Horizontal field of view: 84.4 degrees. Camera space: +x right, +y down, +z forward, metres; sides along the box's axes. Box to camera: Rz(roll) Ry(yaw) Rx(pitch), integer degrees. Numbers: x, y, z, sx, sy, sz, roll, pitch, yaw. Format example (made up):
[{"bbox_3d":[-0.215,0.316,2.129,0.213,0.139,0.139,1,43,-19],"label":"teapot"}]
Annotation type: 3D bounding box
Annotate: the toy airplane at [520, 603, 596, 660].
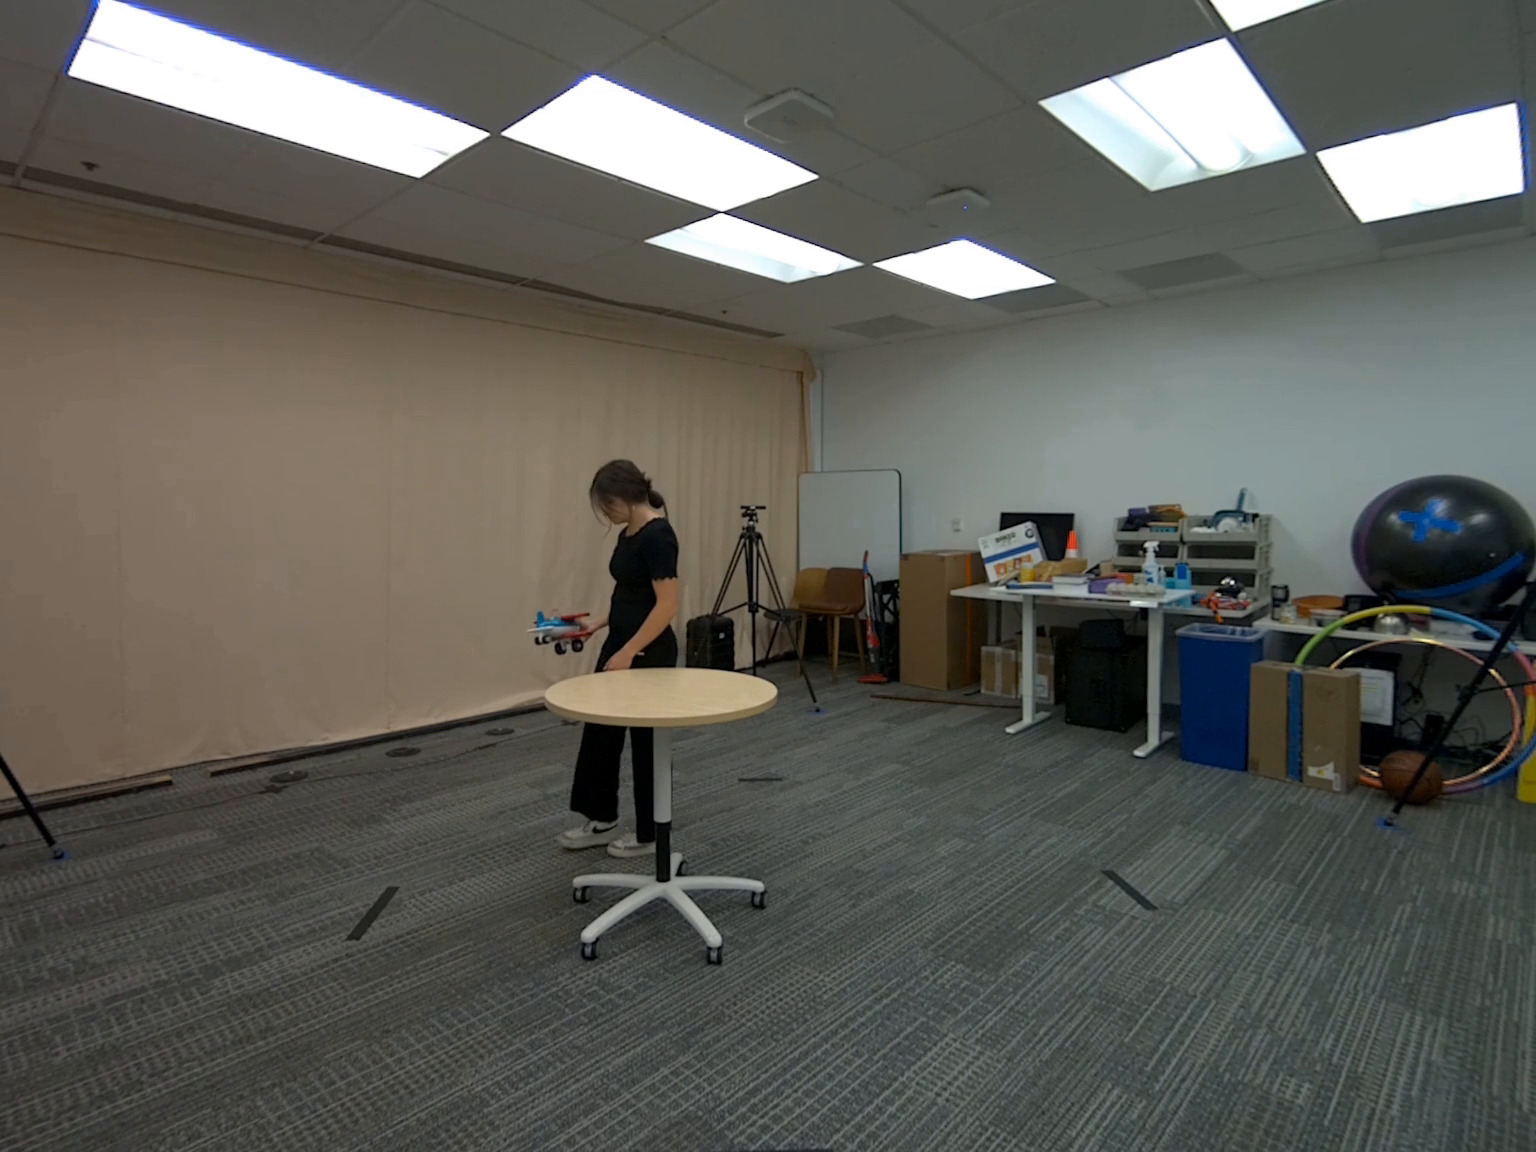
[{"bbox_3d":[-0.836,0.223,3.390,0.251,0.158,0.256,-1,-19,-2],"label":"toy airplane"}]
